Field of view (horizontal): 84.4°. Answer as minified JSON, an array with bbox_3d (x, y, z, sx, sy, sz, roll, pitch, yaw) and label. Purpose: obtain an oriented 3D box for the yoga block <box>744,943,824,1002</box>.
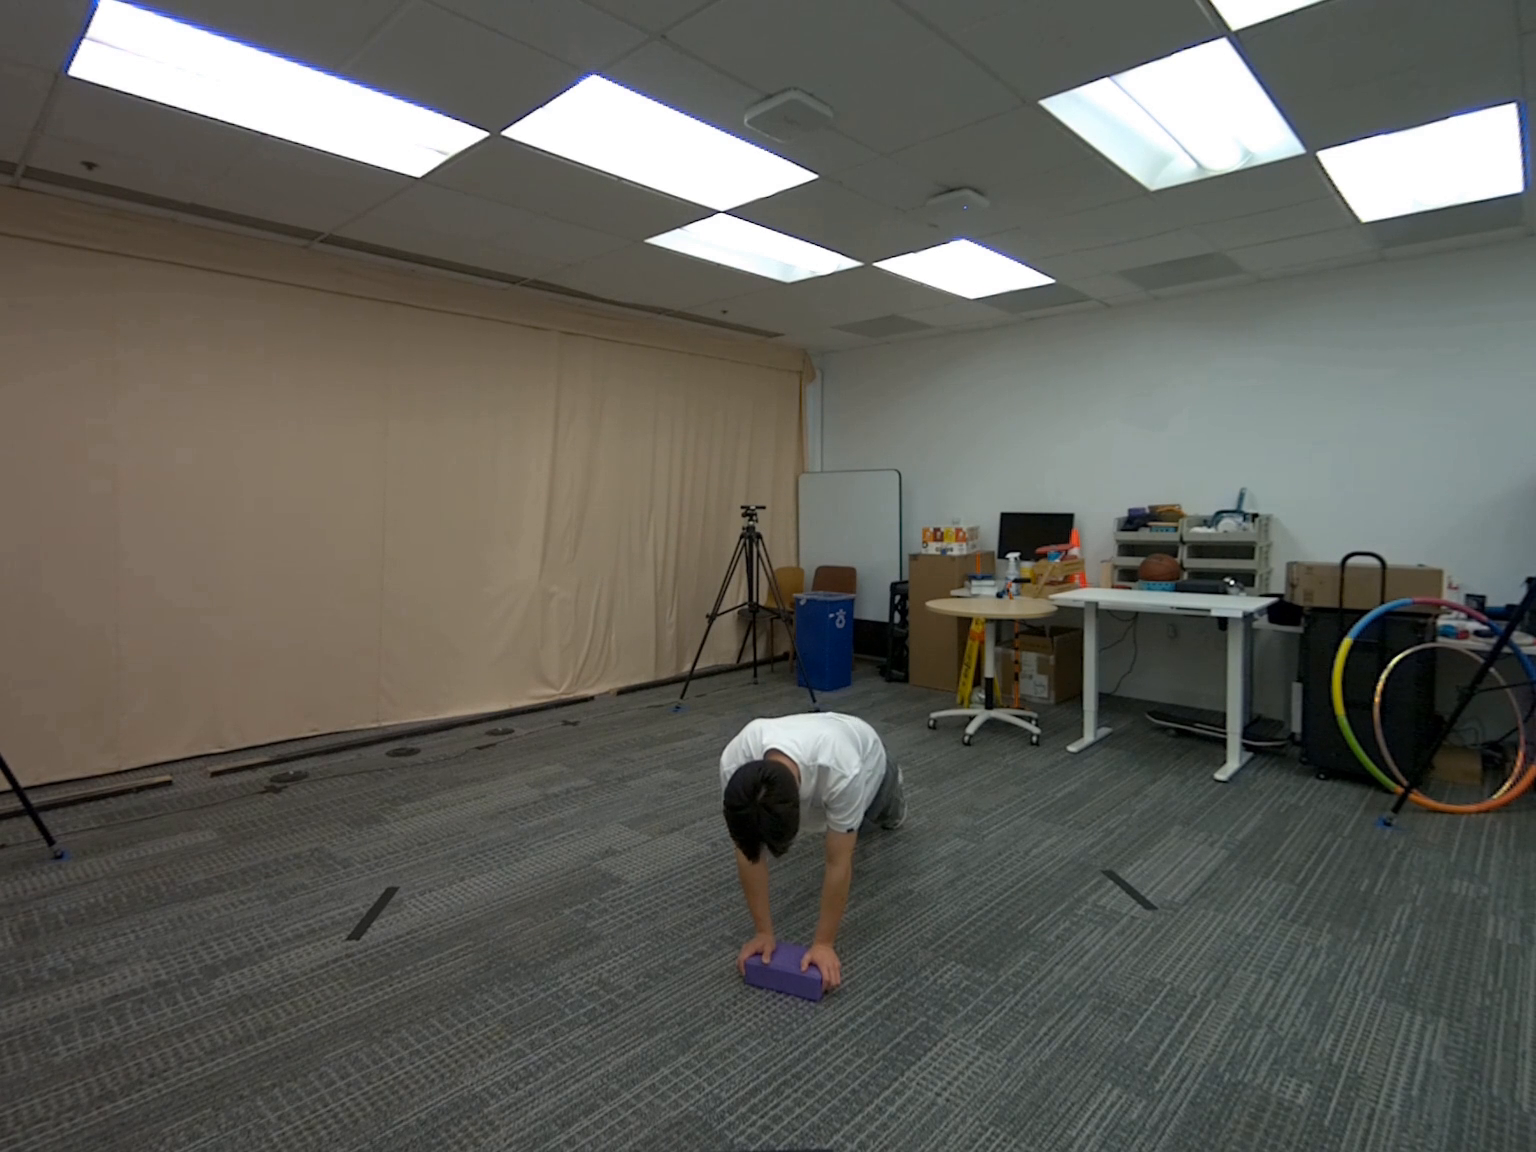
[{"bbox_3d":[0.074,1.159,2.459,0.235,0.076,0.146,3,8,24],"label":"yoga block"}]
